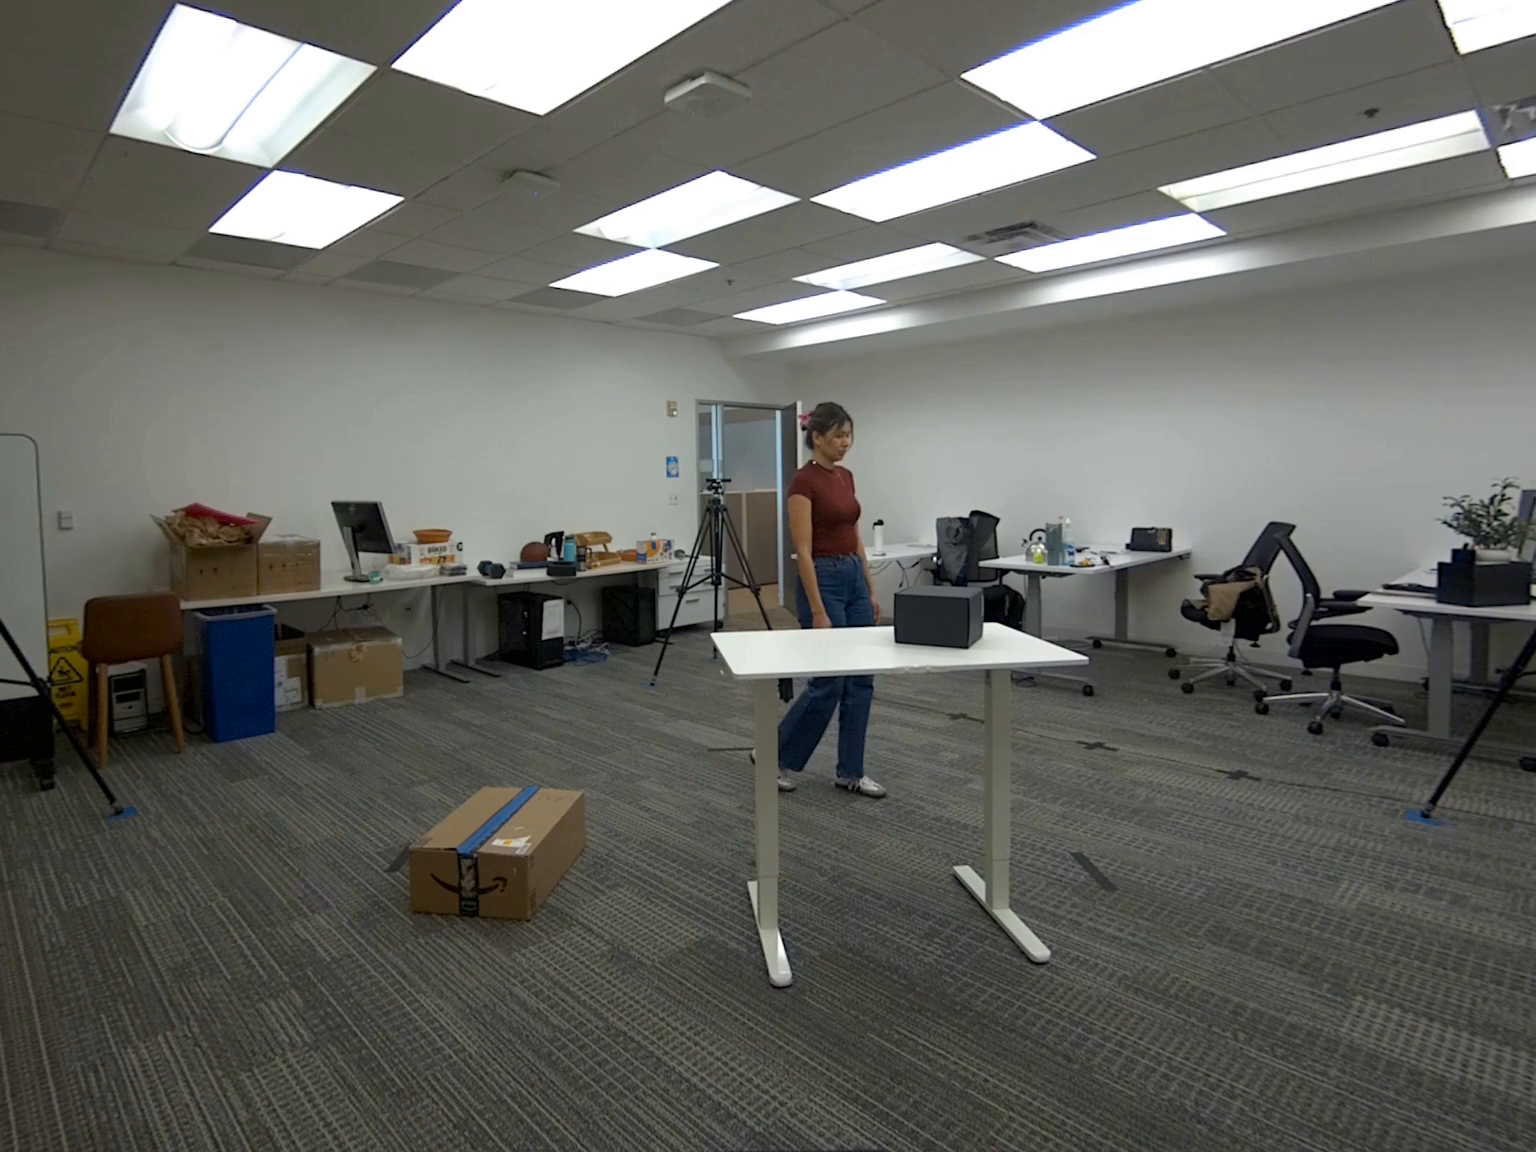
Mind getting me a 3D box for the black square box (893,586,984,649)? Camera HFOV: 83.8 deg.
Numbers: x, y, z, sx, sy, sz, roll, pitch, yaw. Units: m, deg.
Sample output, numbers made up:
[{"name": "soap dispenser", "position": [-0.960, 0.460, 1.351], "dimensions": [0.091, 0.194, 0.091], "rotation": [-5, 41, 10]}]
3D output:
[{"name": "black square box", "position": [0.540, 0.124, 2.671], "dimensions": [0.233, 0.155, 0.213], "rotation": [2, 7, 26]}]
